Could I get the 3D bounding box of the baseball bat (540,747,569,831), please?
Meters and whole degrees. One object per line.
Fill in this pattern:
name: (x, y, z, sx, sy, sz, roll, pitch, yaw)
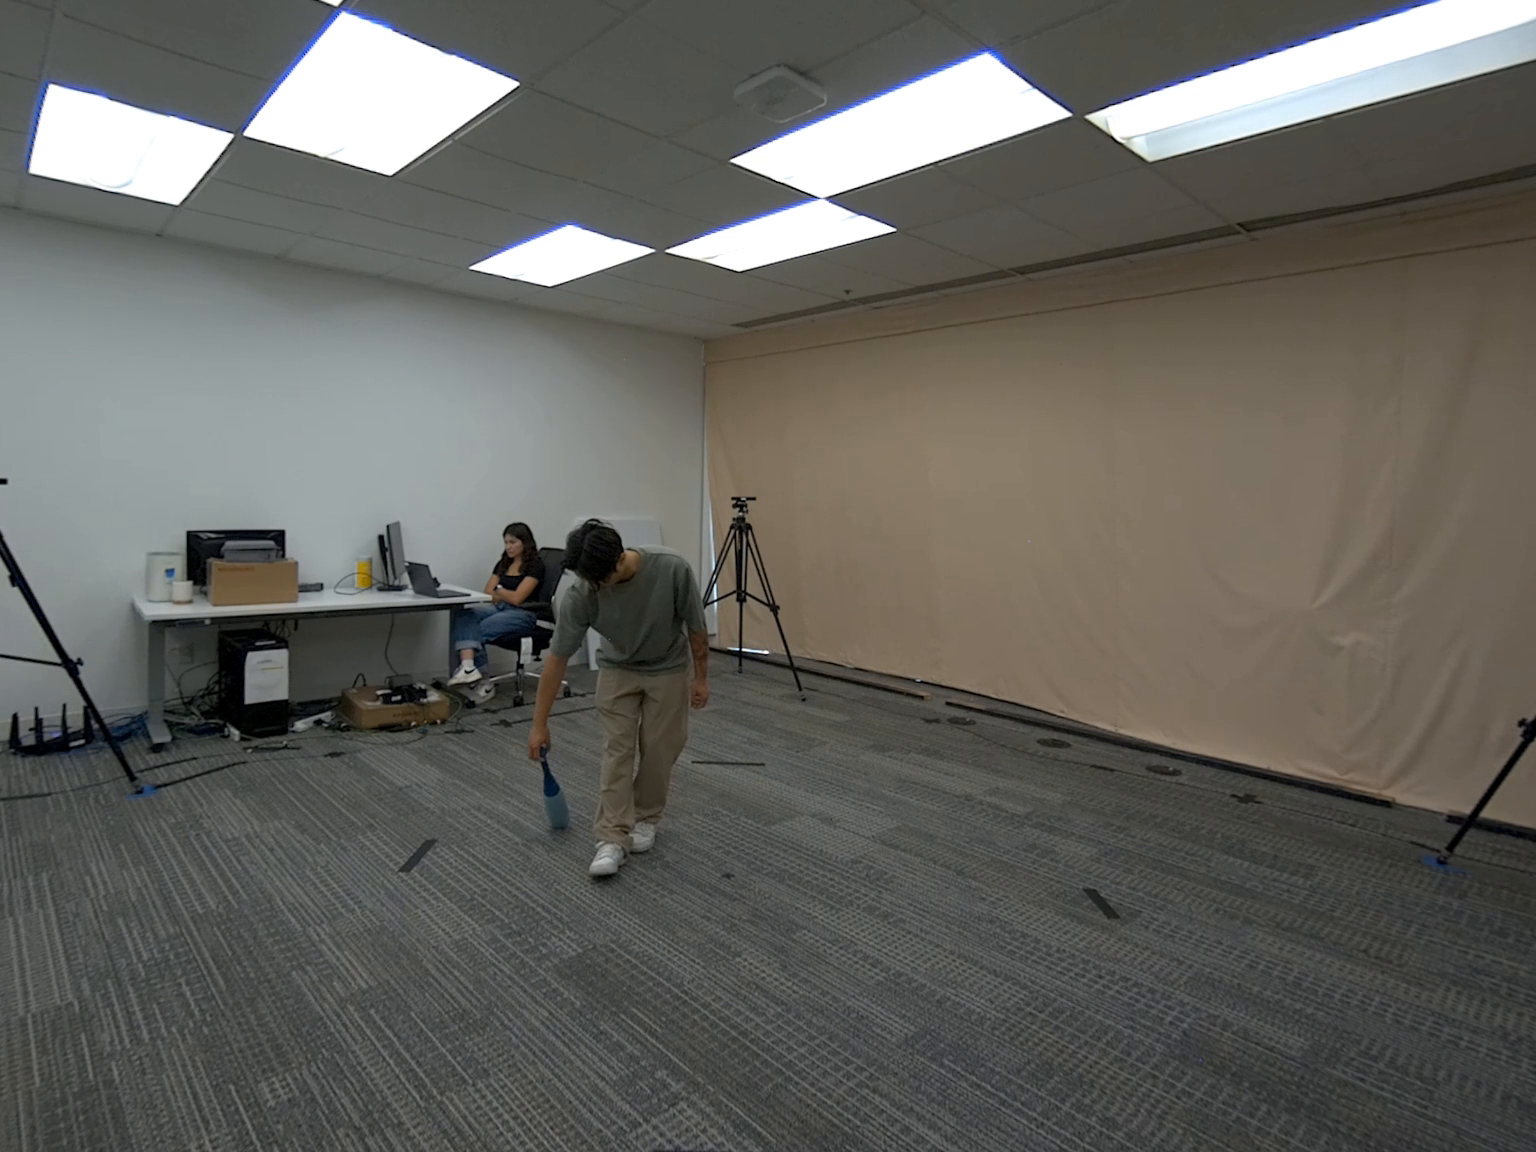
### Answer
baseball bat: (-0.868, 0.842, 3.366, 0.089, 0.531, 0.091, 1, 46, -2)
